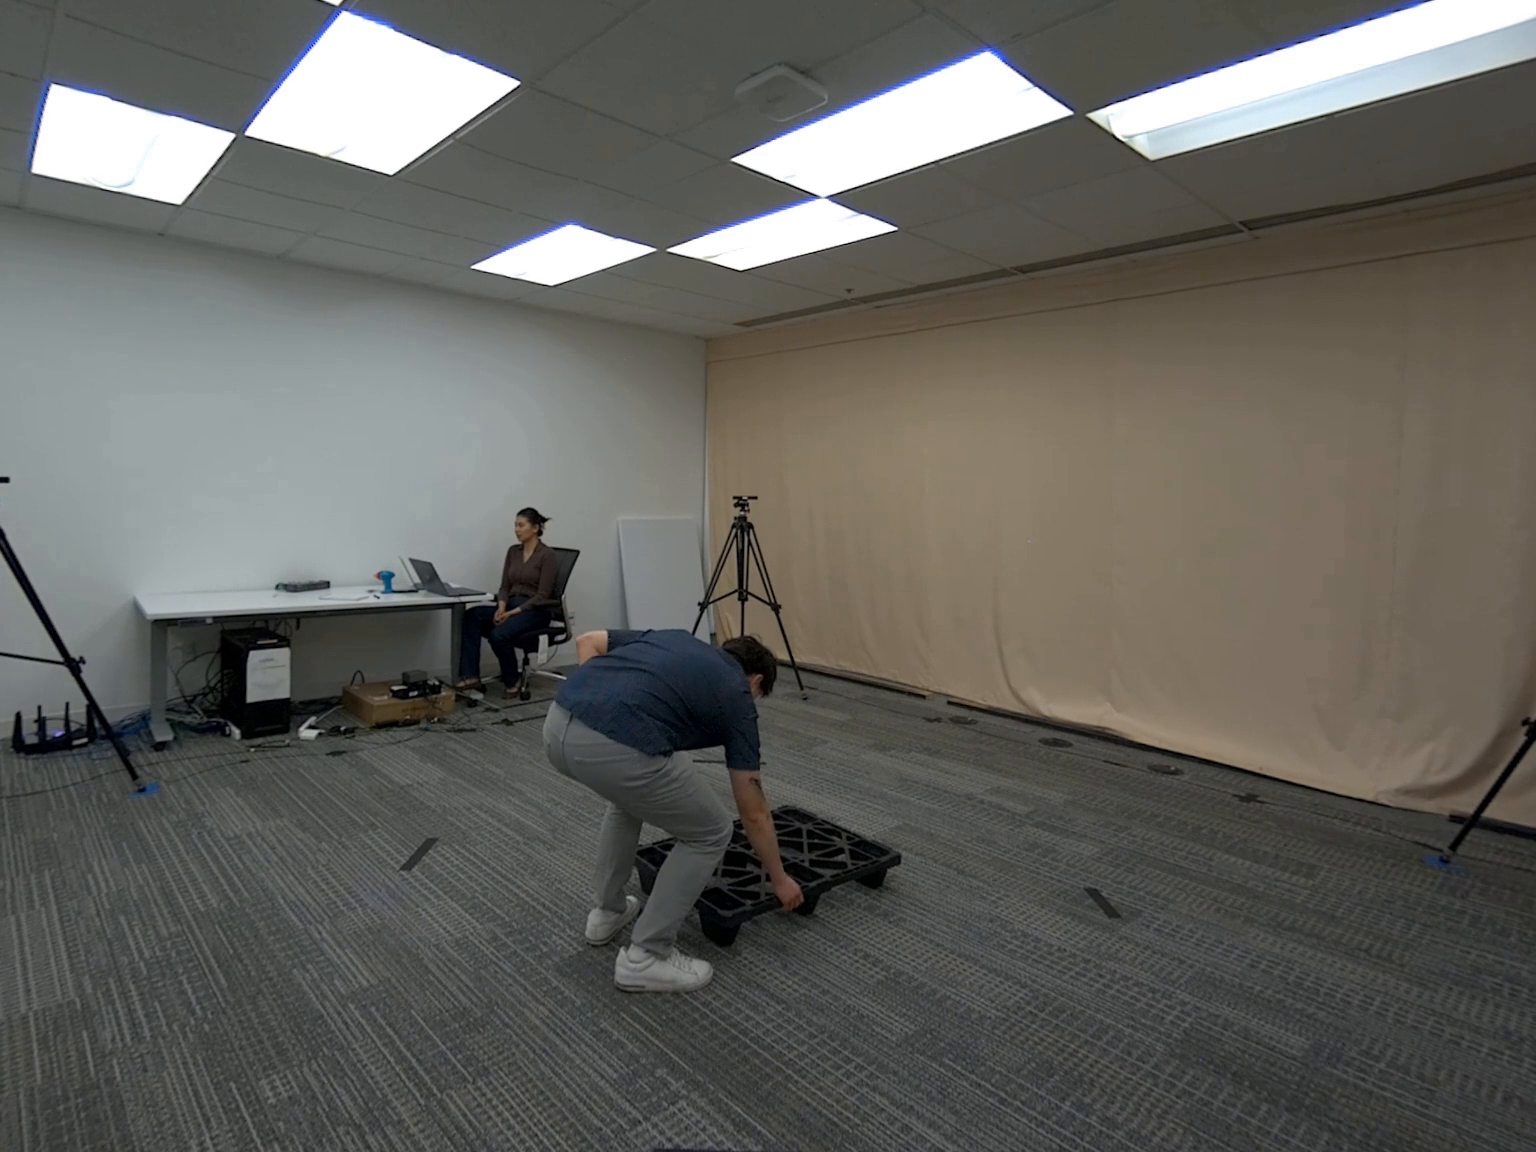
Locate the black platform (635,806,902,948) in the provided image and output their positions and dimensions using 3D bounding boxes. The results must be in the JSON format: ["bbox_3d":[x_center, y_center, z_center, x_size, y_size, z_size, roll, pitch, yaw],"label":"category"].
[{"bbox_3d":[-0.013,1.047,2.998,0.788,0.143,0.621,-3,7,-39],"label":"black platform"}]
